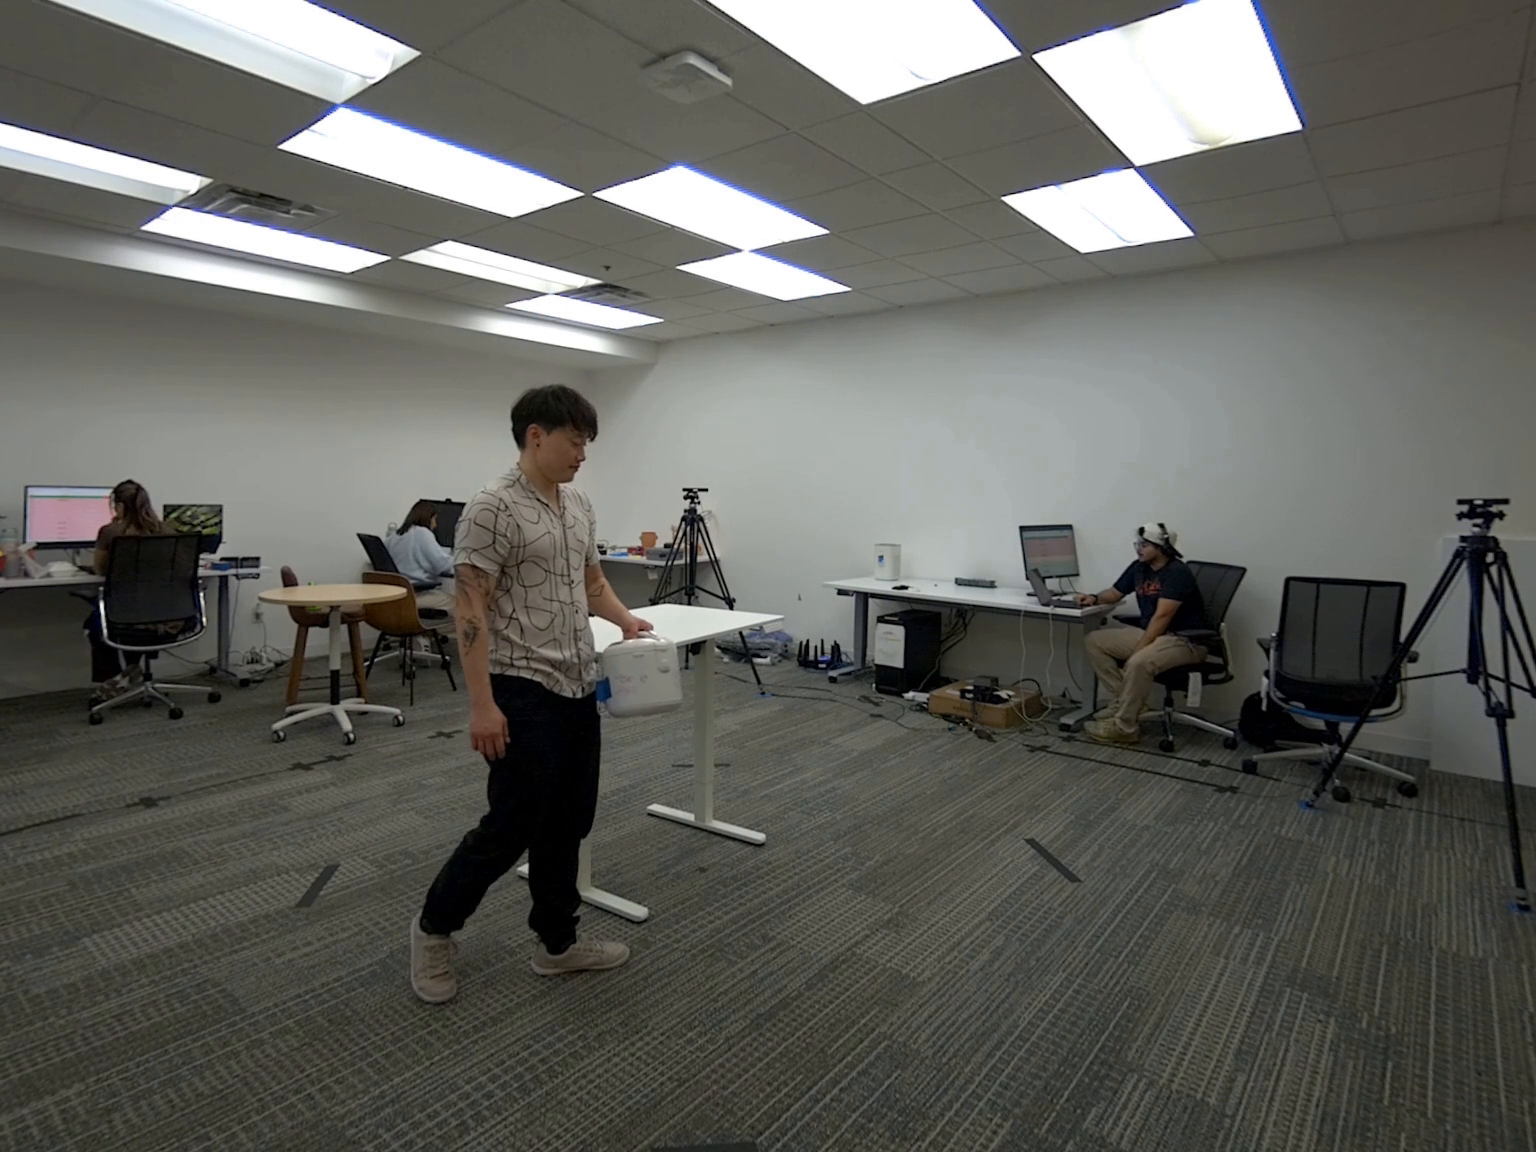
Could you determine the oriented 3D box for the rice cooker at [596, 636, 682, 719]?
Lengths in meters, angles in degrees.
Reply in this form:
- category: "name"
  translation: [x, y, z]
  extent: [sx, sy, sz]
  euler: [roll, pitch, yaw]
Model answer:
- category: "rice cooker"
  translation: [-0.364, 0.272, 2.355]
  extent: [0.210, 0.235, 0.225]
  euler: [1, -13, -43]
